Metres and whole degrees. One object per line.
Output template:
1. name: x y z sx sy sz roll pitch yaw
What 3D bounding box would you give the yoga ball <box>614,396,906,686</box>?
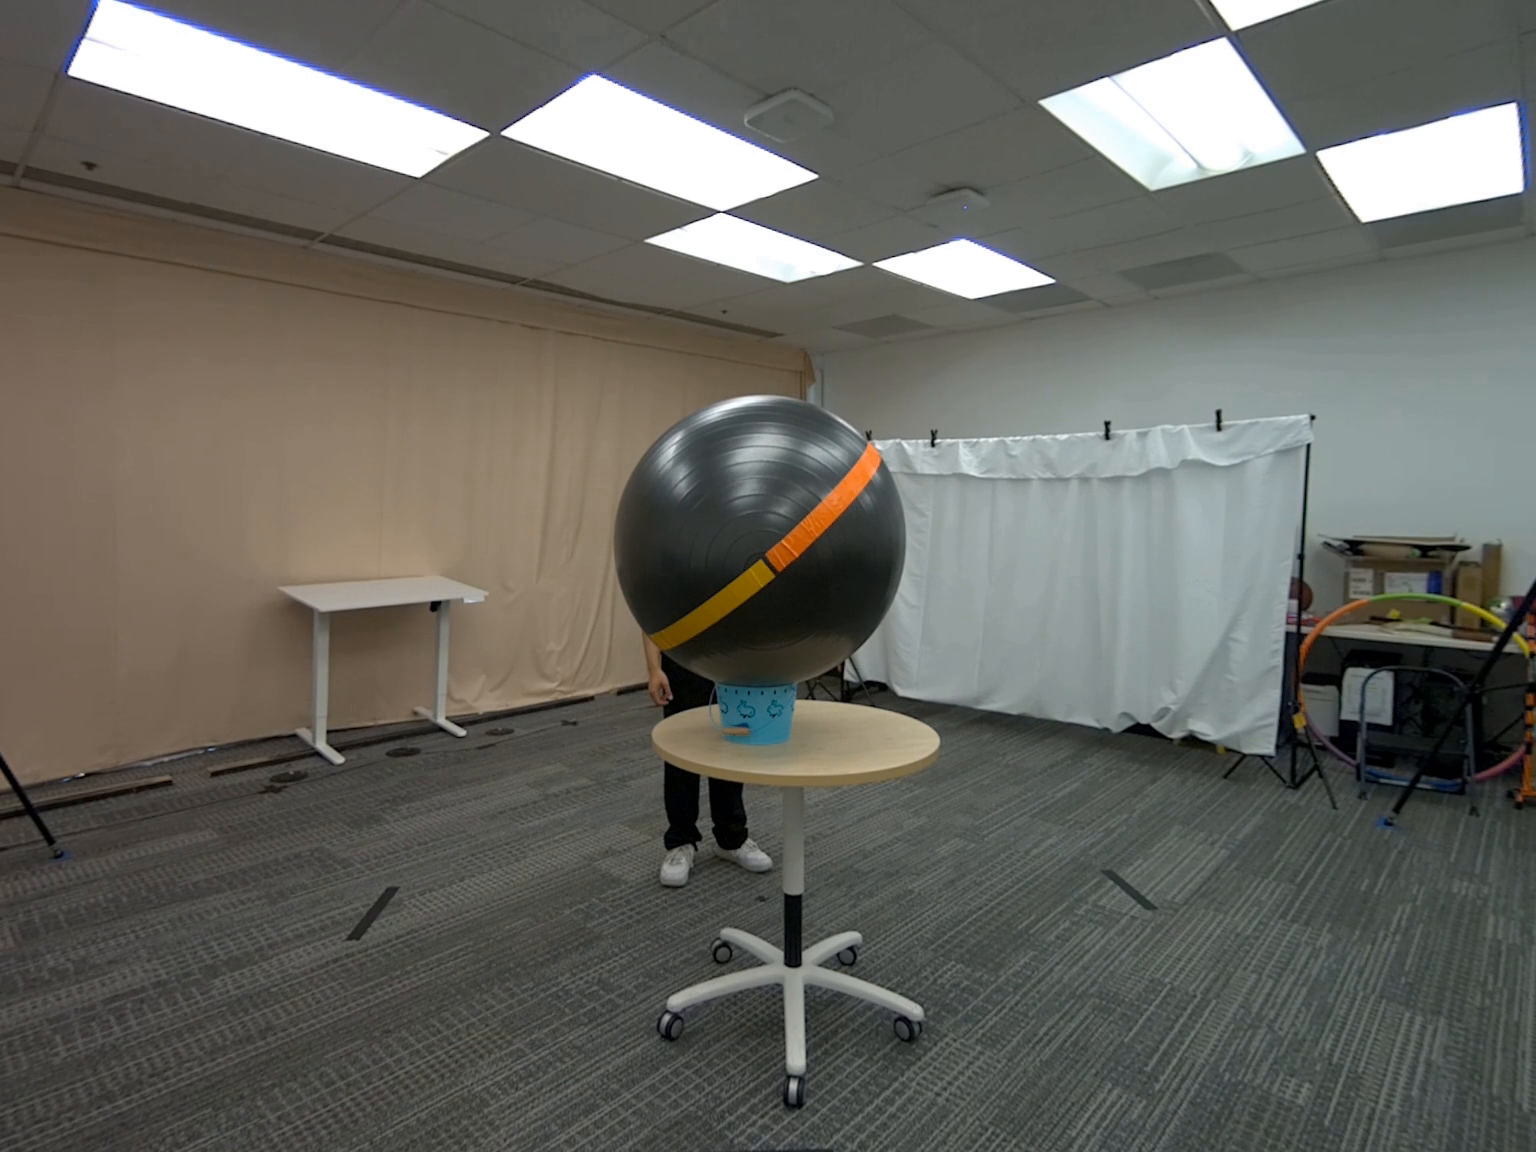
1. yoga ball: -0.019 -0.086 2.207 0.757 0.756 0.760 0 4 -2
